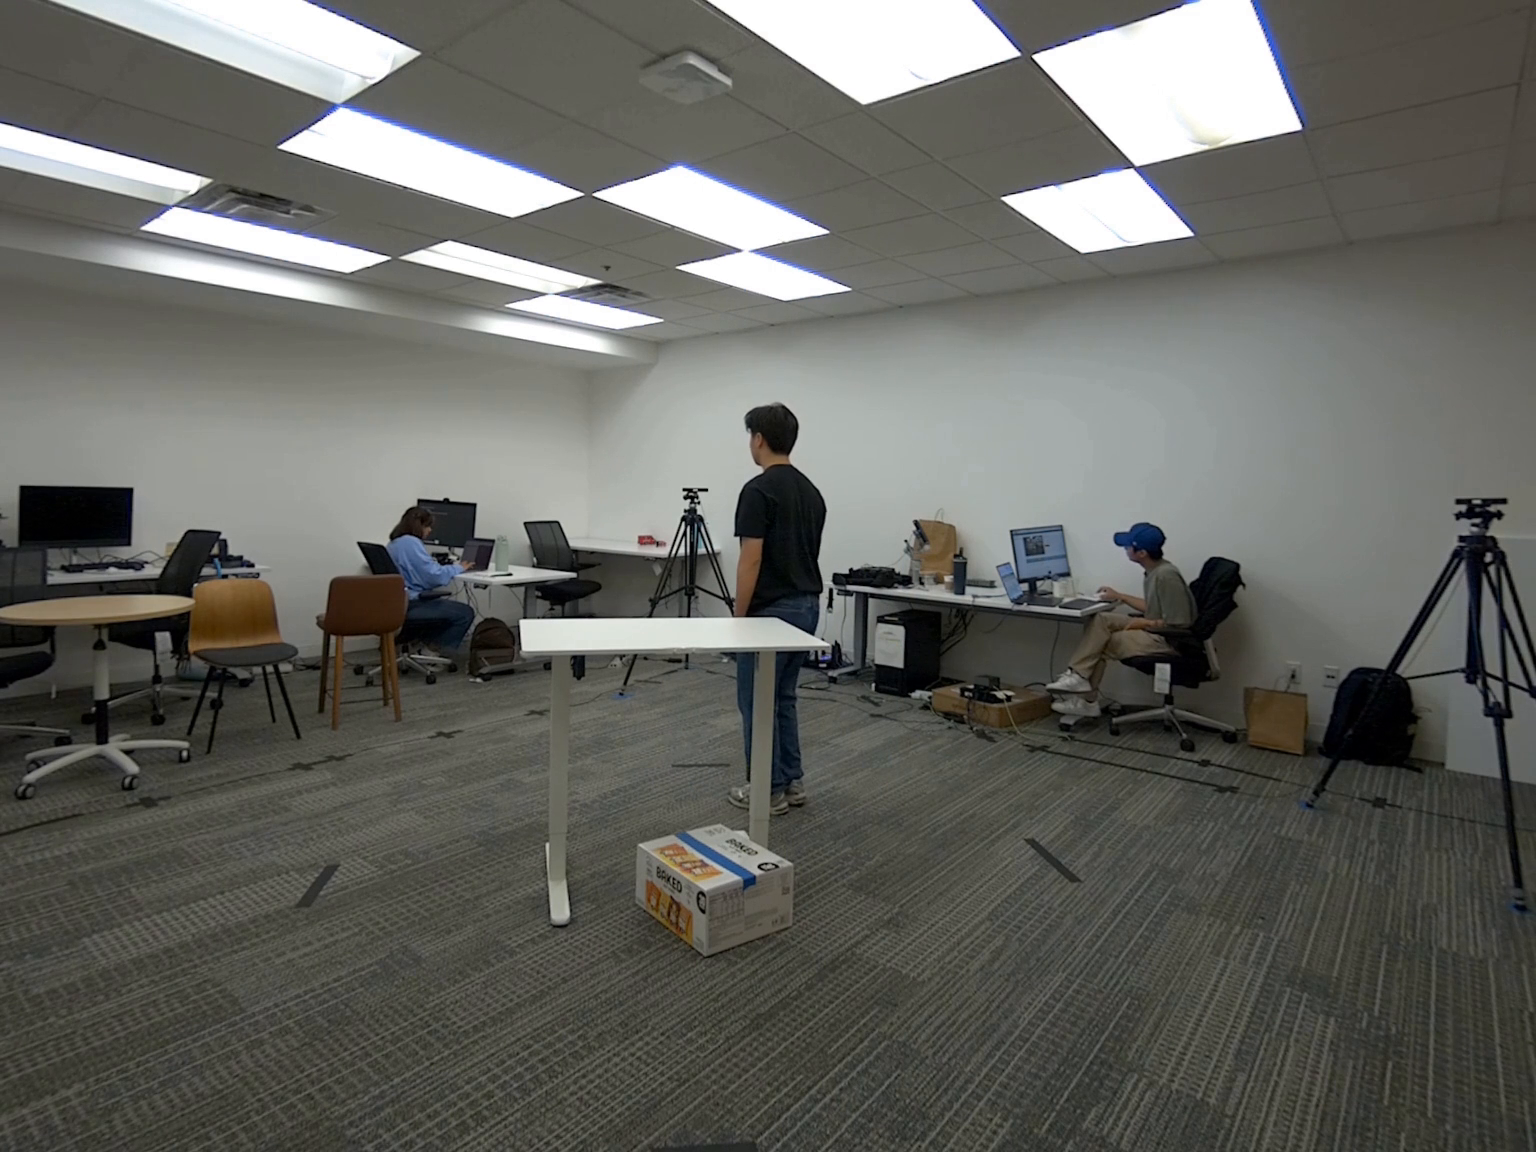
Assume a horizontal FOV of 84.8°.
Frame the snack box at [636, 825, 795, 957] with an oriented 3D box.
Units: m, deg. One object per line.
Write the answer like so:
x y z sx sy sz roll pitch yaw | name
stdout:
-0.186 1.002 2.762 0.330 0.205 0.419 -2 6 -37 | snack box
